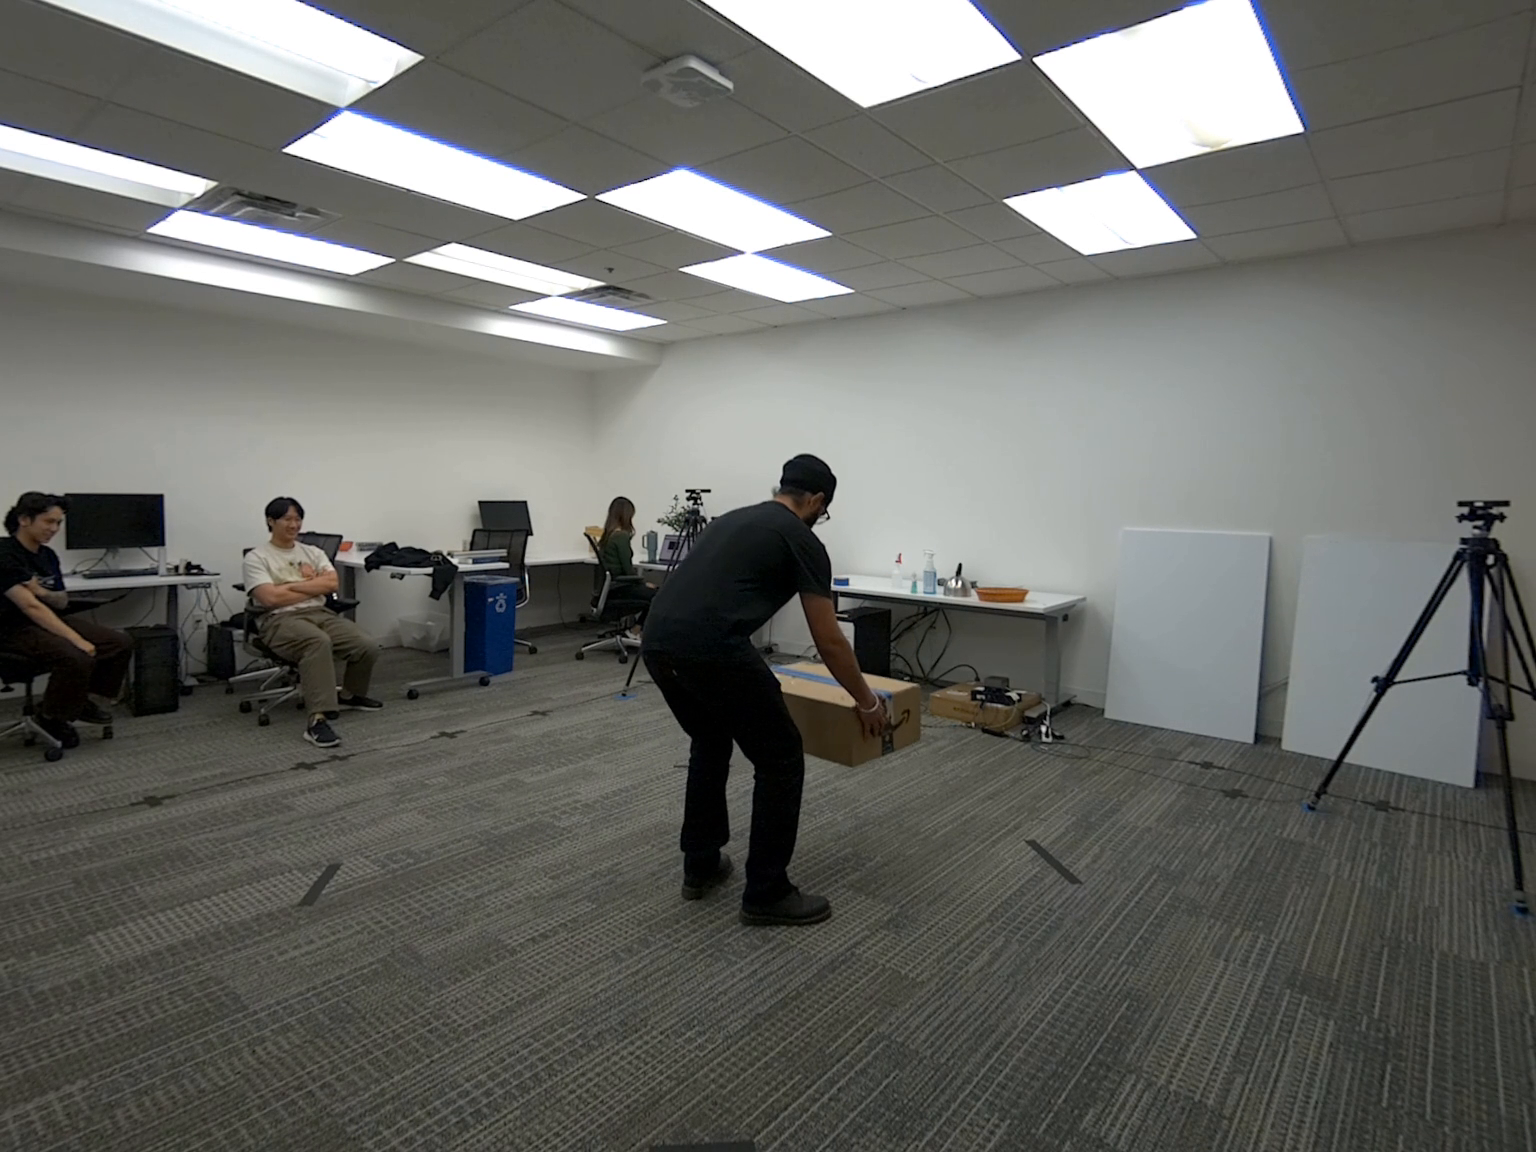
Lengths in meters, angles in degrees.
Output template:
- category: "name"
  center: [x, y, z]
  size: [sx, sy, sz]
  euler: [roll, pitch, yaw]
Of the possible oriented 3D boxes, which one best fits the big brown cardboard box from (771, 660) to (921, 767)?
- category: "big brown cardboard box"
  center: [0.209, 0.508, 3.238]
  size: [0.609, 0.232, 0.406]
  euler: [7, 10, 42]
